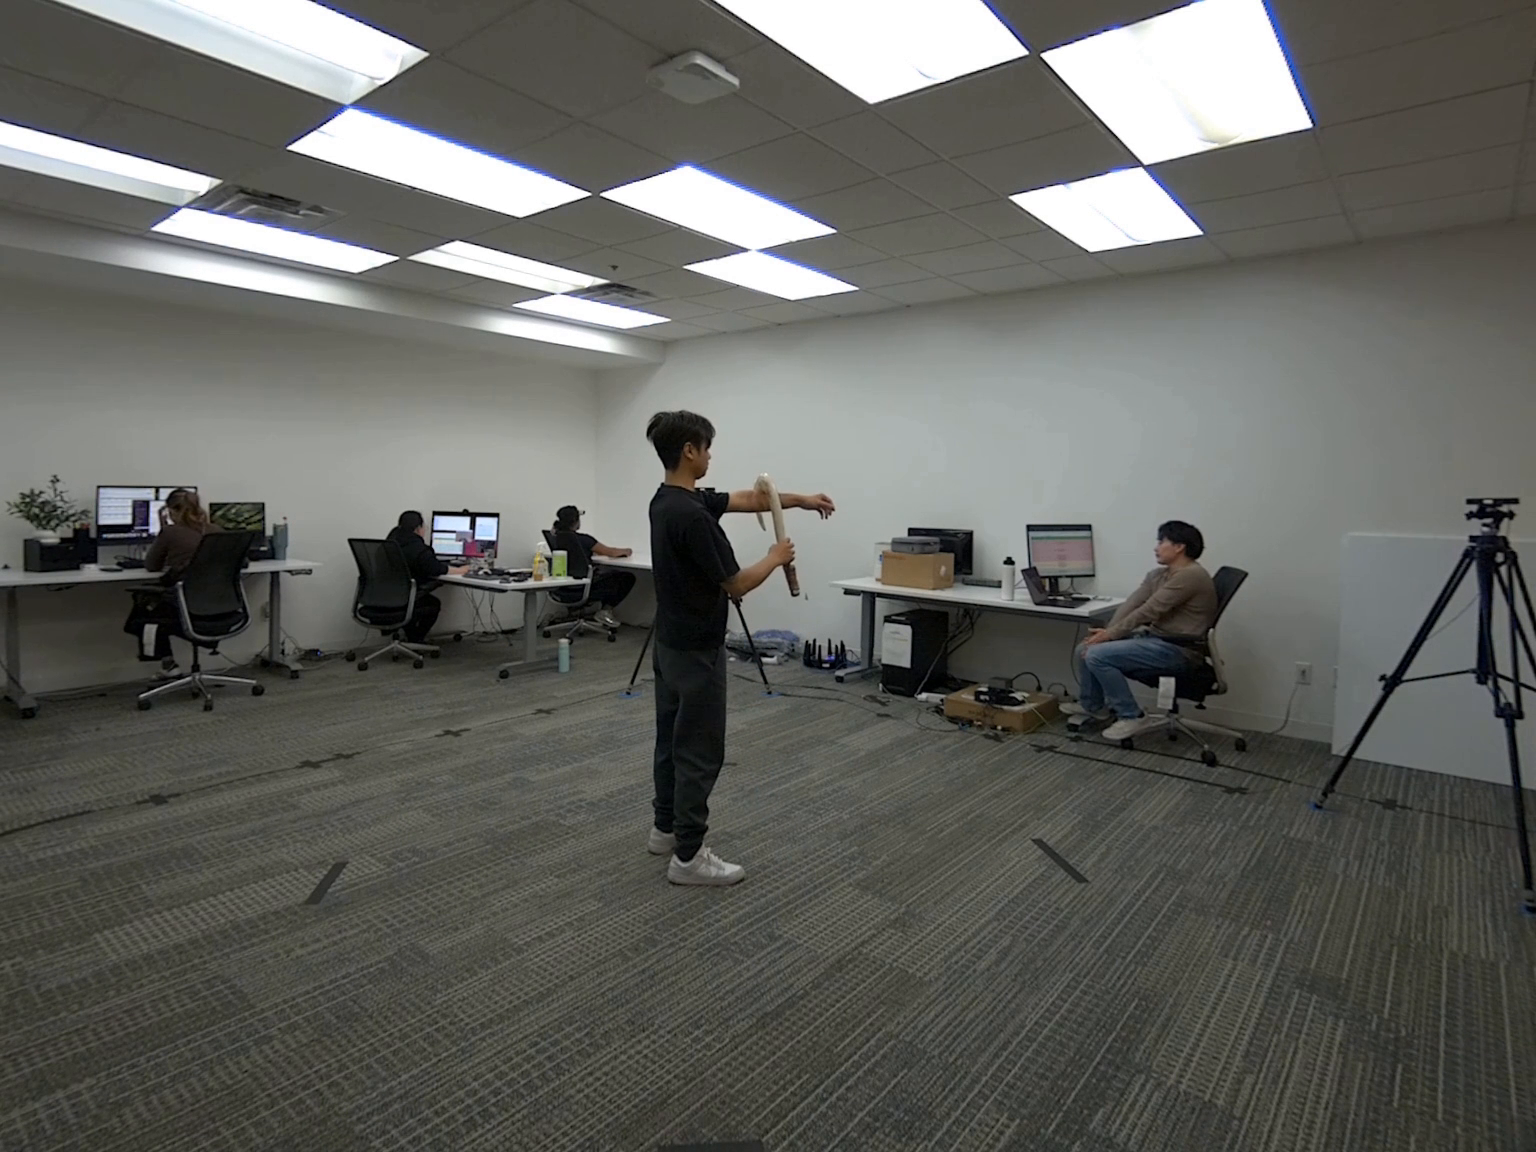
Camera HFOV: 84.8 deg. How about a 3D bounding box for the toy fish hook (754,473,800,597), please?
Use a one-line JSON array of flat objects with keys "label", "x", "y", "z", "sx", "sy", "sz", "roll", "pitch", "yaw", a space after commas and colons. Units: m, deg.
[{"label": "toy fish hook", "x": 0.020, "y": -0.154, "z": 3.289, "sx": 0.047, "sy": 0.516, "sz": 0.223, "roll": -9, "pitch": -17, "yaw": -17}]
